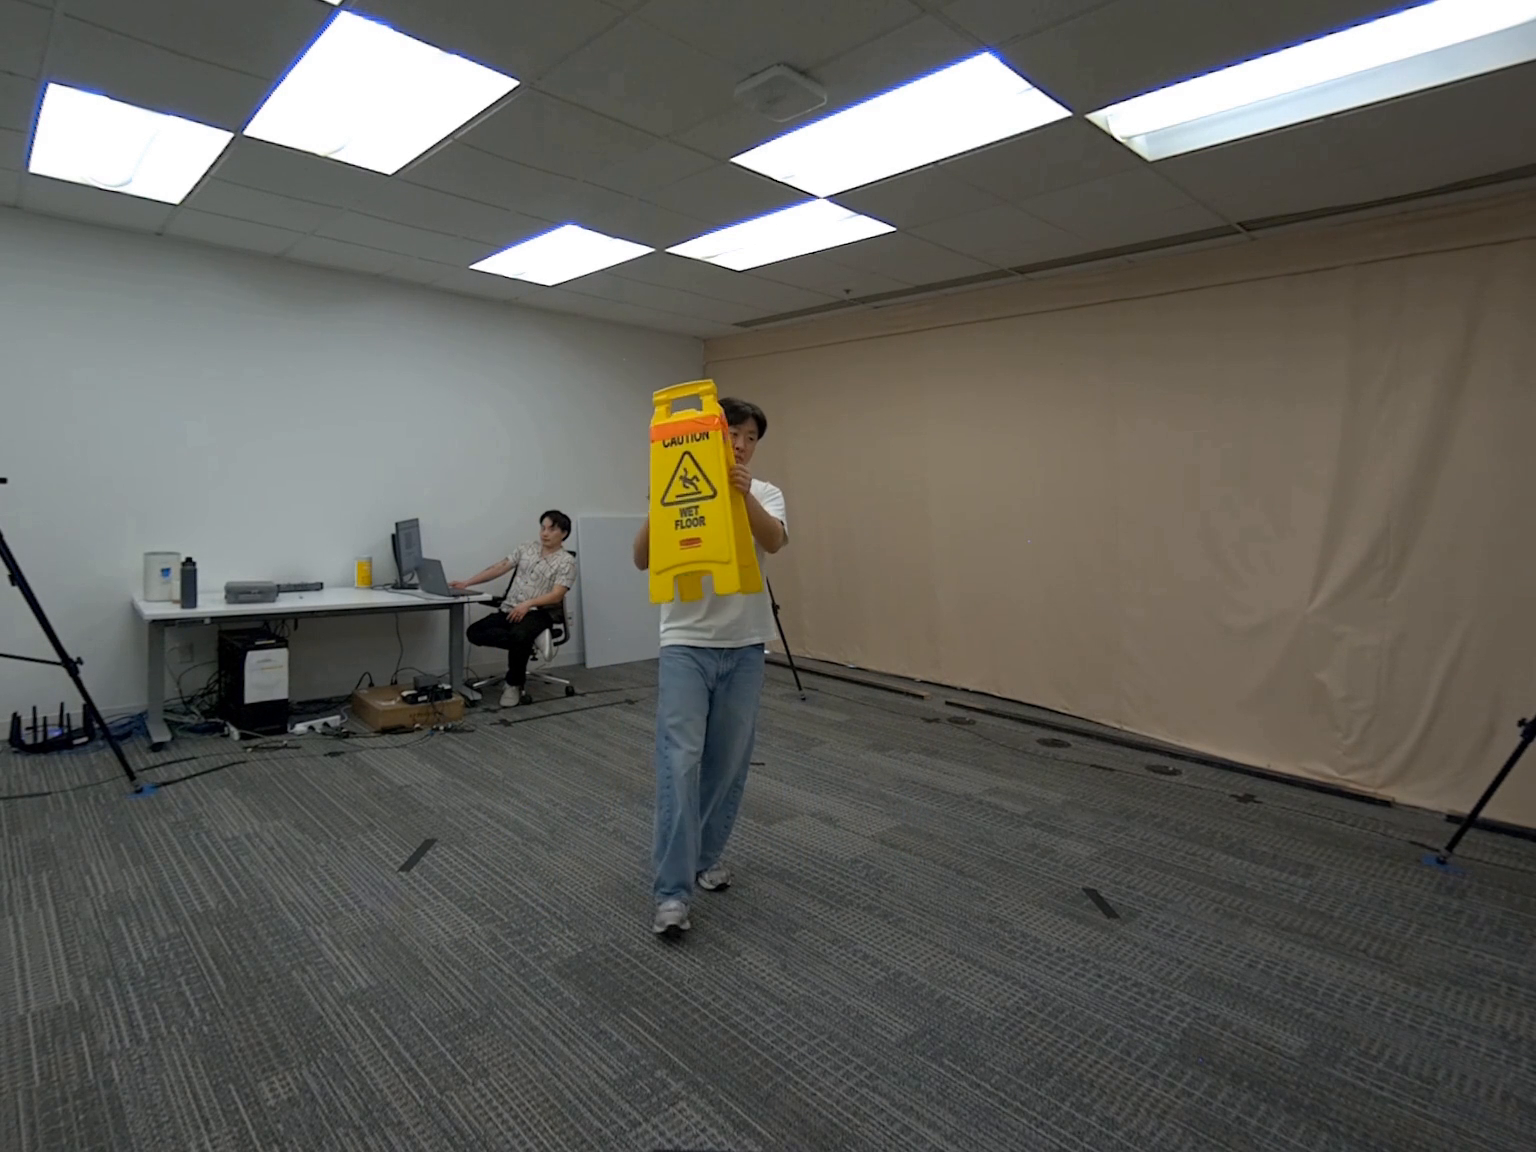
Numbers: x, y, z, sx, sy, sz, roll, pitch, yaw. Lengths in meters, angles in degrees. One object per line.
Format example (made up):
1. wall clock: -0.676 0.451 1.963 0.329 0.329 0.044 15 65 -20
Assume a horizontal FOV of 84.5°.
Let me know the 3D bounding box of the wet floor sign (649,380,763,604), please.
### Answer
1. wet floor sign: -0.224 -0.254 2.525 0.286 0.648 0.285 -8 -4 18
